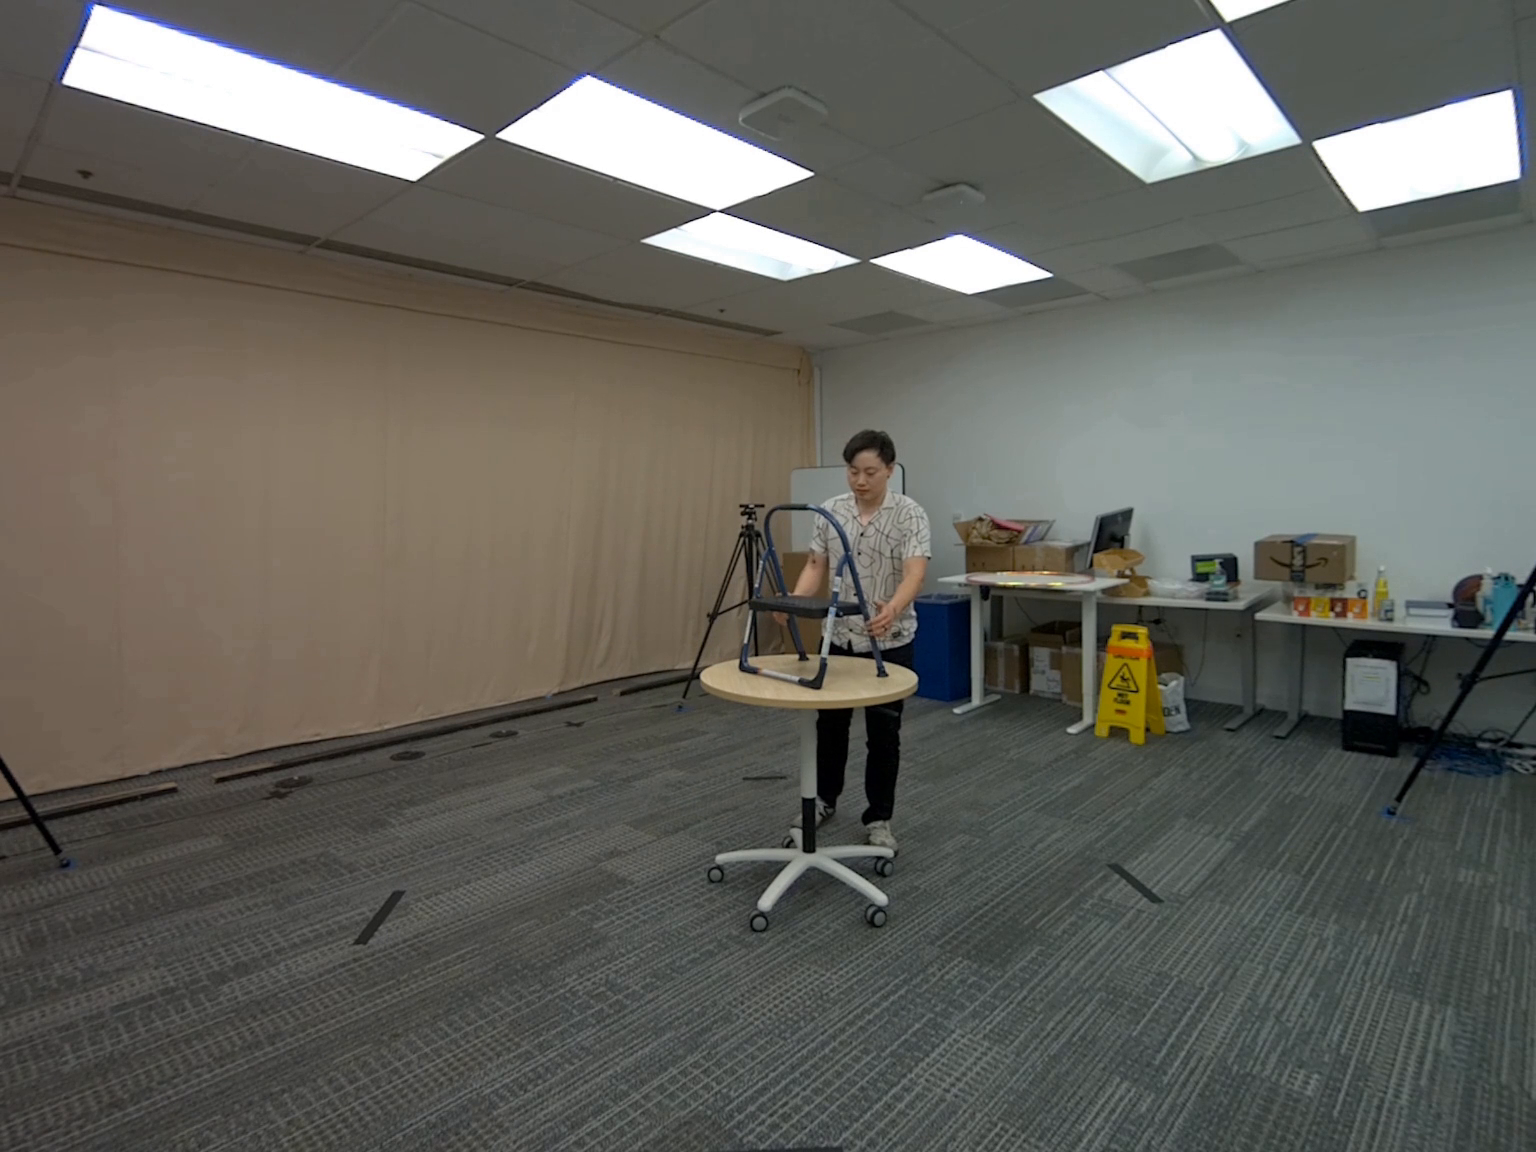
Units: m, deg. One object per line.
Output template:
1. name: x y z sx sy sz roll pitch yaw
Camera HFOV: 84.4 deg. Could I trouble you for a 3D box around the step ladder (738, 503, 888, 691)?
1. step ladder: 0.153 0.047 2.999 0.339 0.605 0.445 -4 5 -41
